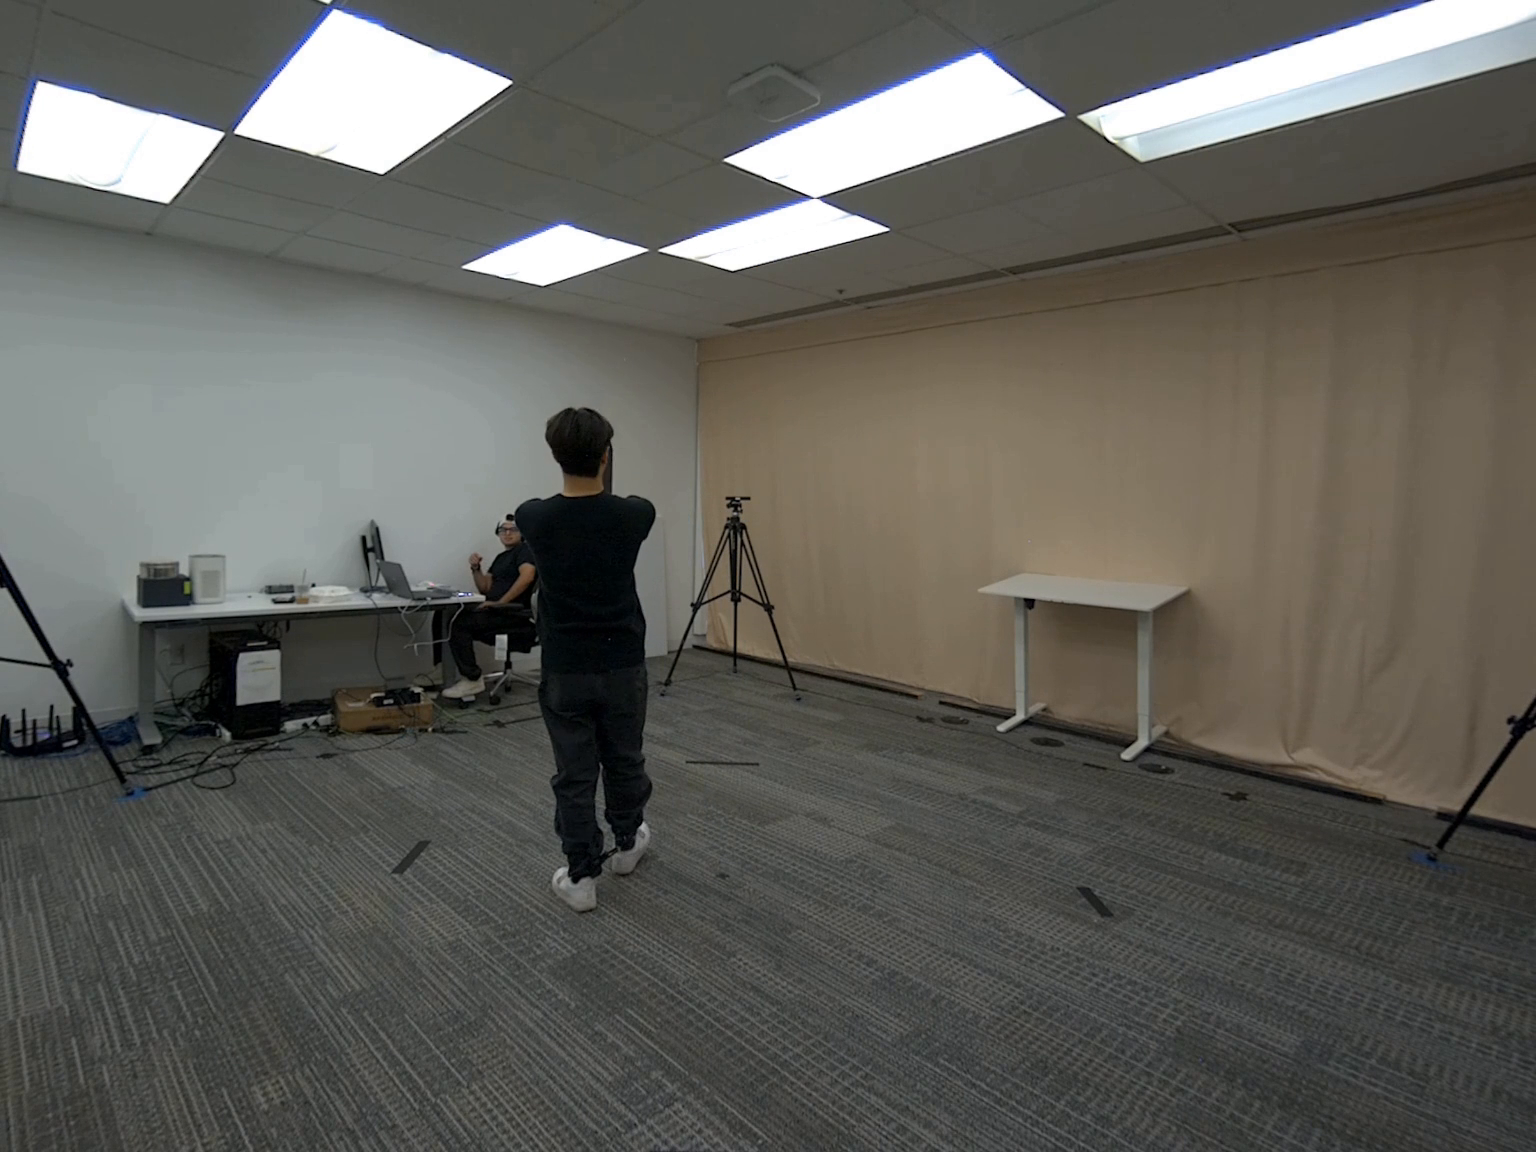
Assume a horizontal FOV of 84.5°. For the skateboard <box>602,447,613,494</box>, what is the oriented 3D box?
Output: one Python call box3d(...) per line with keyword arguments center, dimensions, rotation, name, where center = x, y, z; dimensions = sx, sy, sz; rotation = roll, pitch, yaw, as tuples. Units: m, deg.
box3d(center=(-0.745, -0.227, 3.447), dimensions=(0.192, 0.787, 0.111), rotation=(1, -3, -9), name="skateboard")
